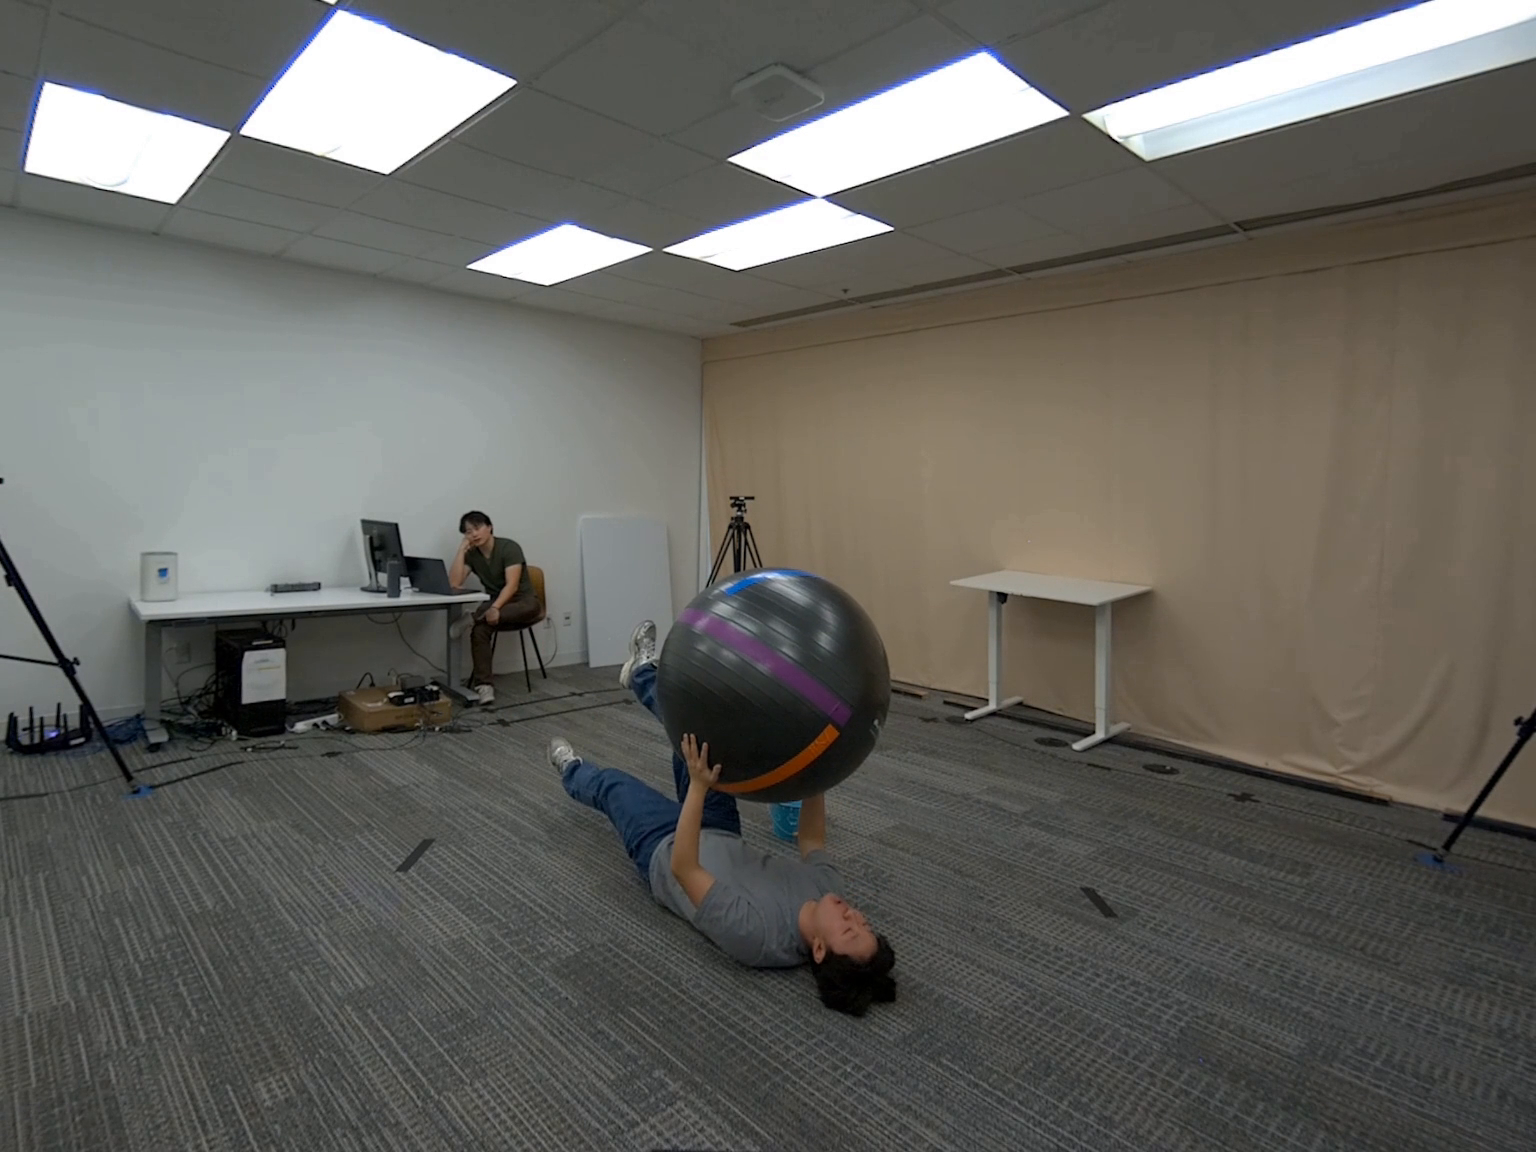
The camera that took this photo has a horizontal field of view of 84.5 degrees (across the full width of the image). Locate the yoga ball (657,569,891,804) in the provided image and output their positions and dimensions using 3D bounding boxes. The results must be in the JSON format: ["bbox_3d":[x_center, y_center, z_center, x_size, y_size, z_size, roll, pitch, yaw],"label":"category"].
[{"bbox_3d":[0.013,0.357,2.752,0.757,0.756,0.761,1,4,-1],"label":"yoga ball"}]
